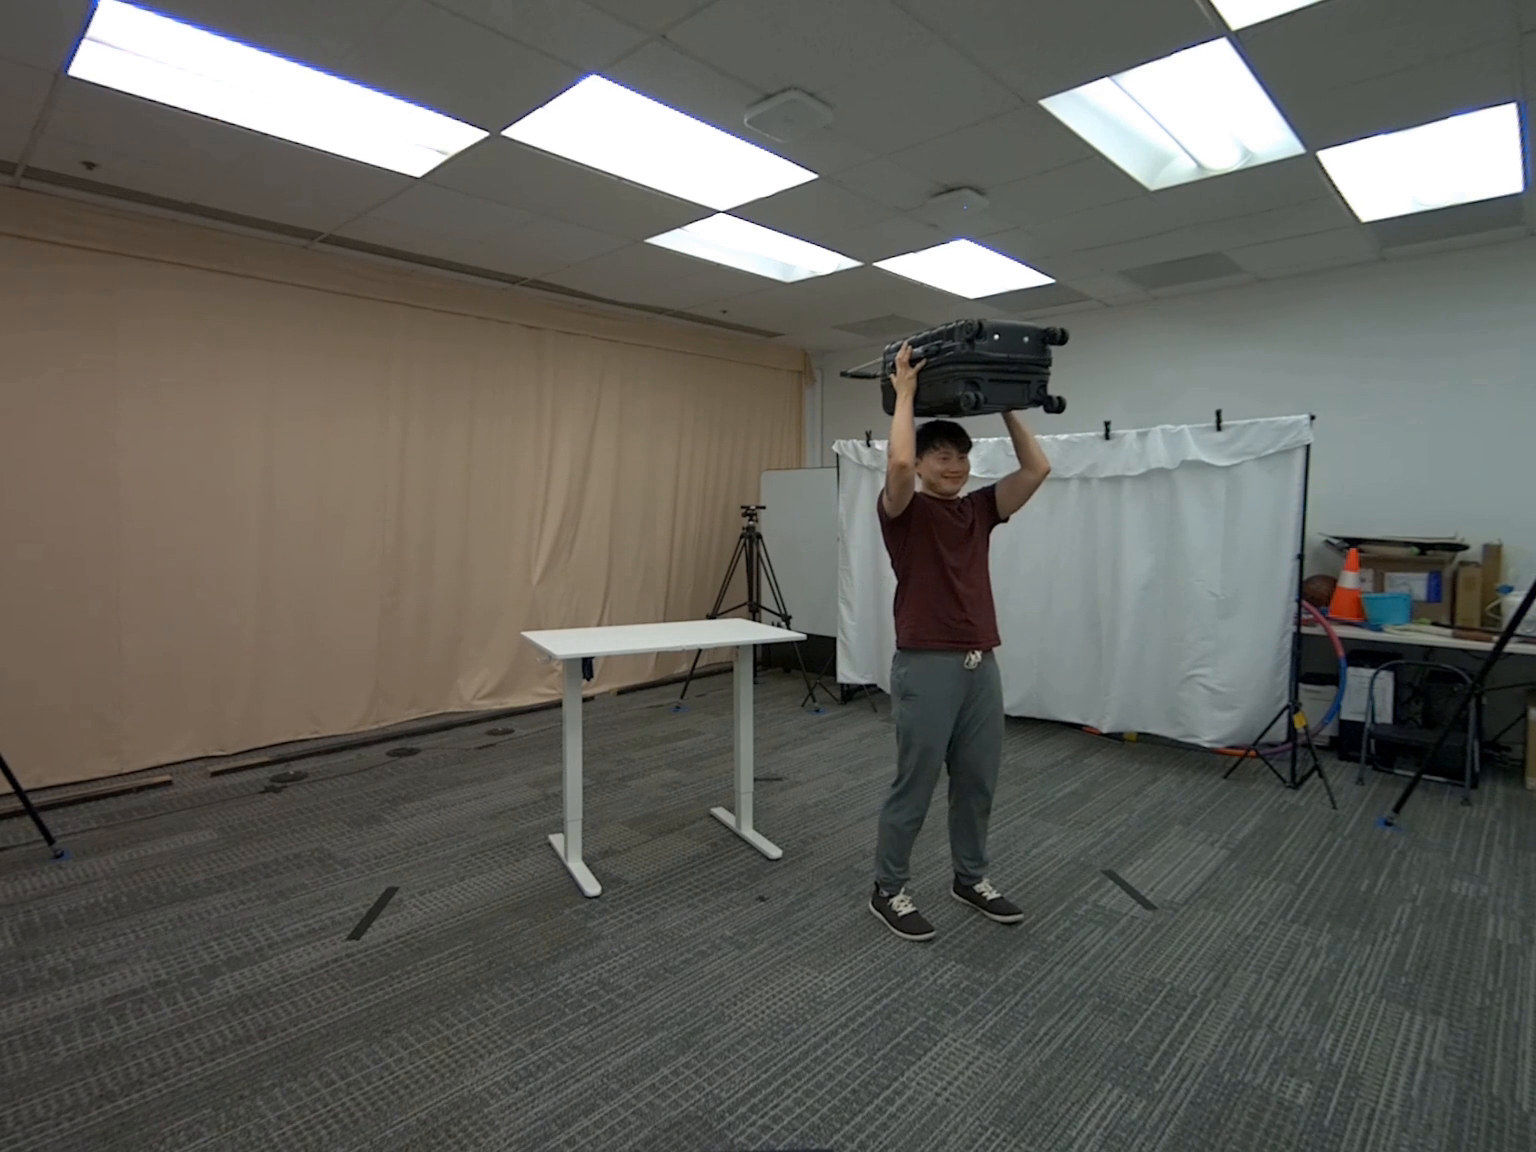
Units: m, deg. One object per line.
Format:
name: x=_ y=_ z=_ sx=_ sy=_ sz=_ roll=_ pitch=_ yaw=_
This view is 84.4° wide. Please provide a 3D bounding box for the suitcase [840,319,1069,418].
suitcase: x=0.550 y=-0.663 z=2.890 sx=0.376 sy=0.256 sz=1.001 roll=-4 pitch=5 yaw=-21
